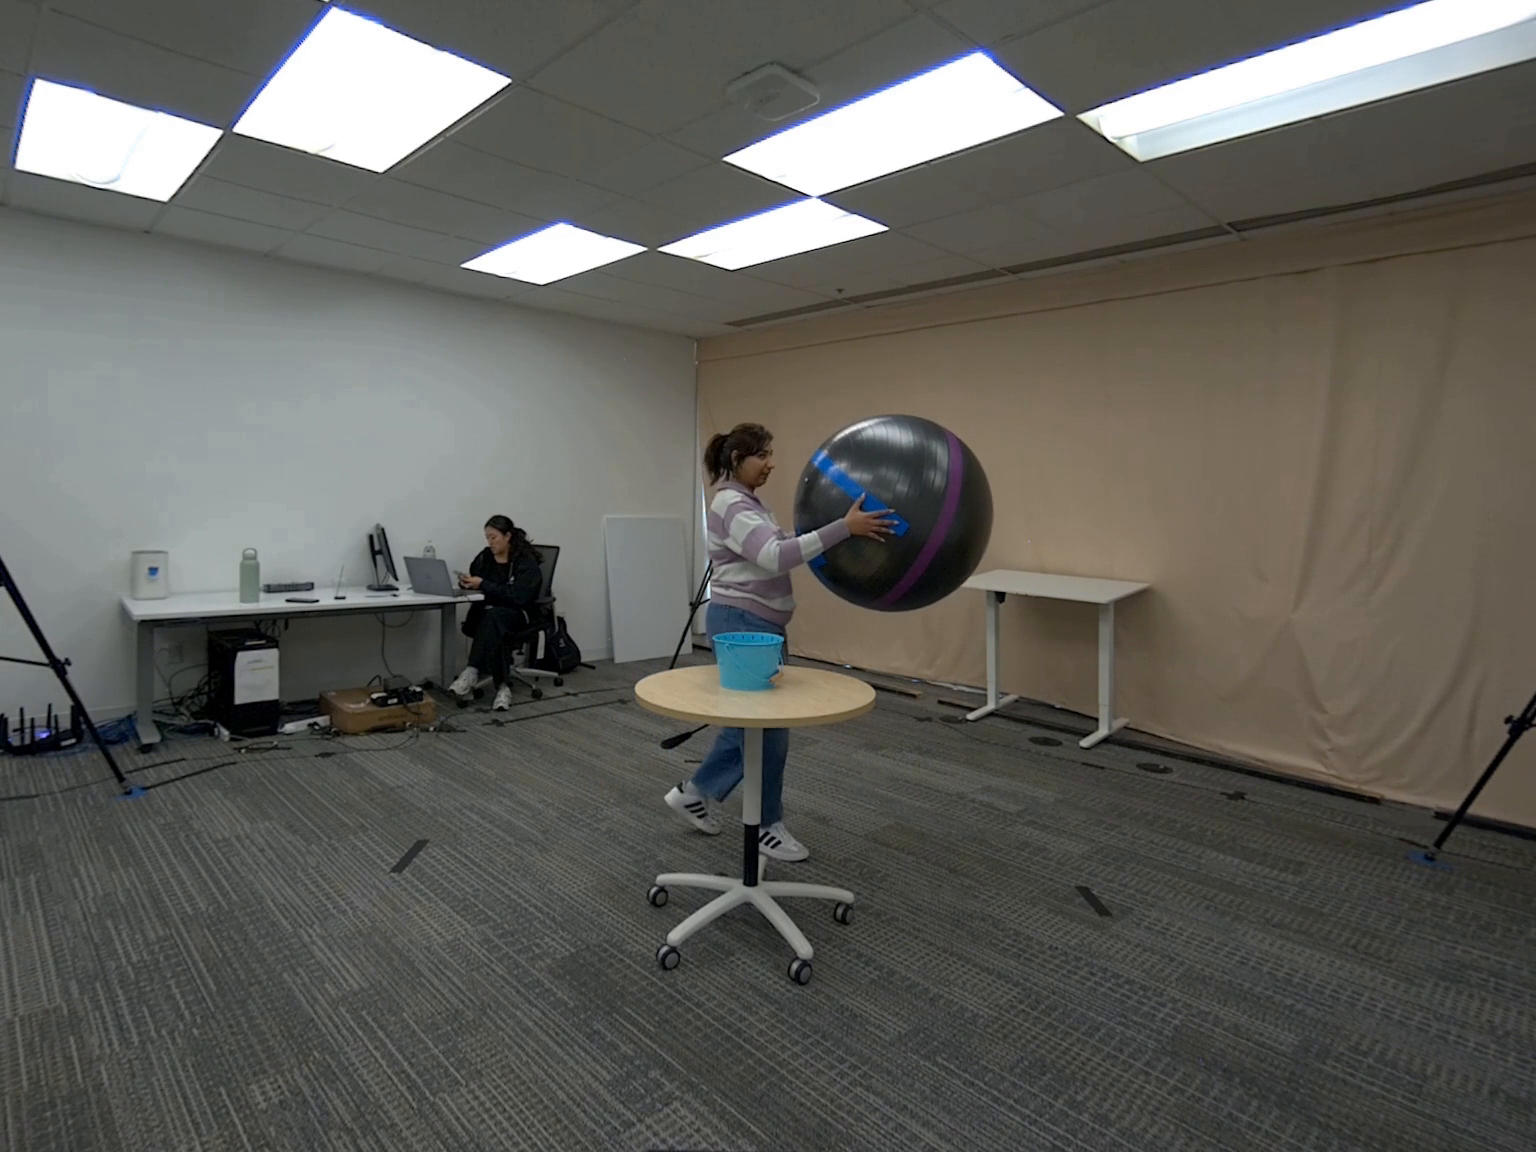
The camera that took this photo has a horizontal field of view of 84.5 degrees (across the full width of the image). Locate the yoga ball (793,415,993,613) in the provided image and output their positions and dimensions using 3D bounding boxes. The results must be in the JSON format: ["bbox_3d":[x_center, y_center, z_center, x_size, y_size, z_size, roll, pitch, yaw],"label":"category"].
[{"bbox_3d":[0.474,-0.234,3.262,0.757,0.756,0.761,1,4,-1],"label":"yoga ball"}]
